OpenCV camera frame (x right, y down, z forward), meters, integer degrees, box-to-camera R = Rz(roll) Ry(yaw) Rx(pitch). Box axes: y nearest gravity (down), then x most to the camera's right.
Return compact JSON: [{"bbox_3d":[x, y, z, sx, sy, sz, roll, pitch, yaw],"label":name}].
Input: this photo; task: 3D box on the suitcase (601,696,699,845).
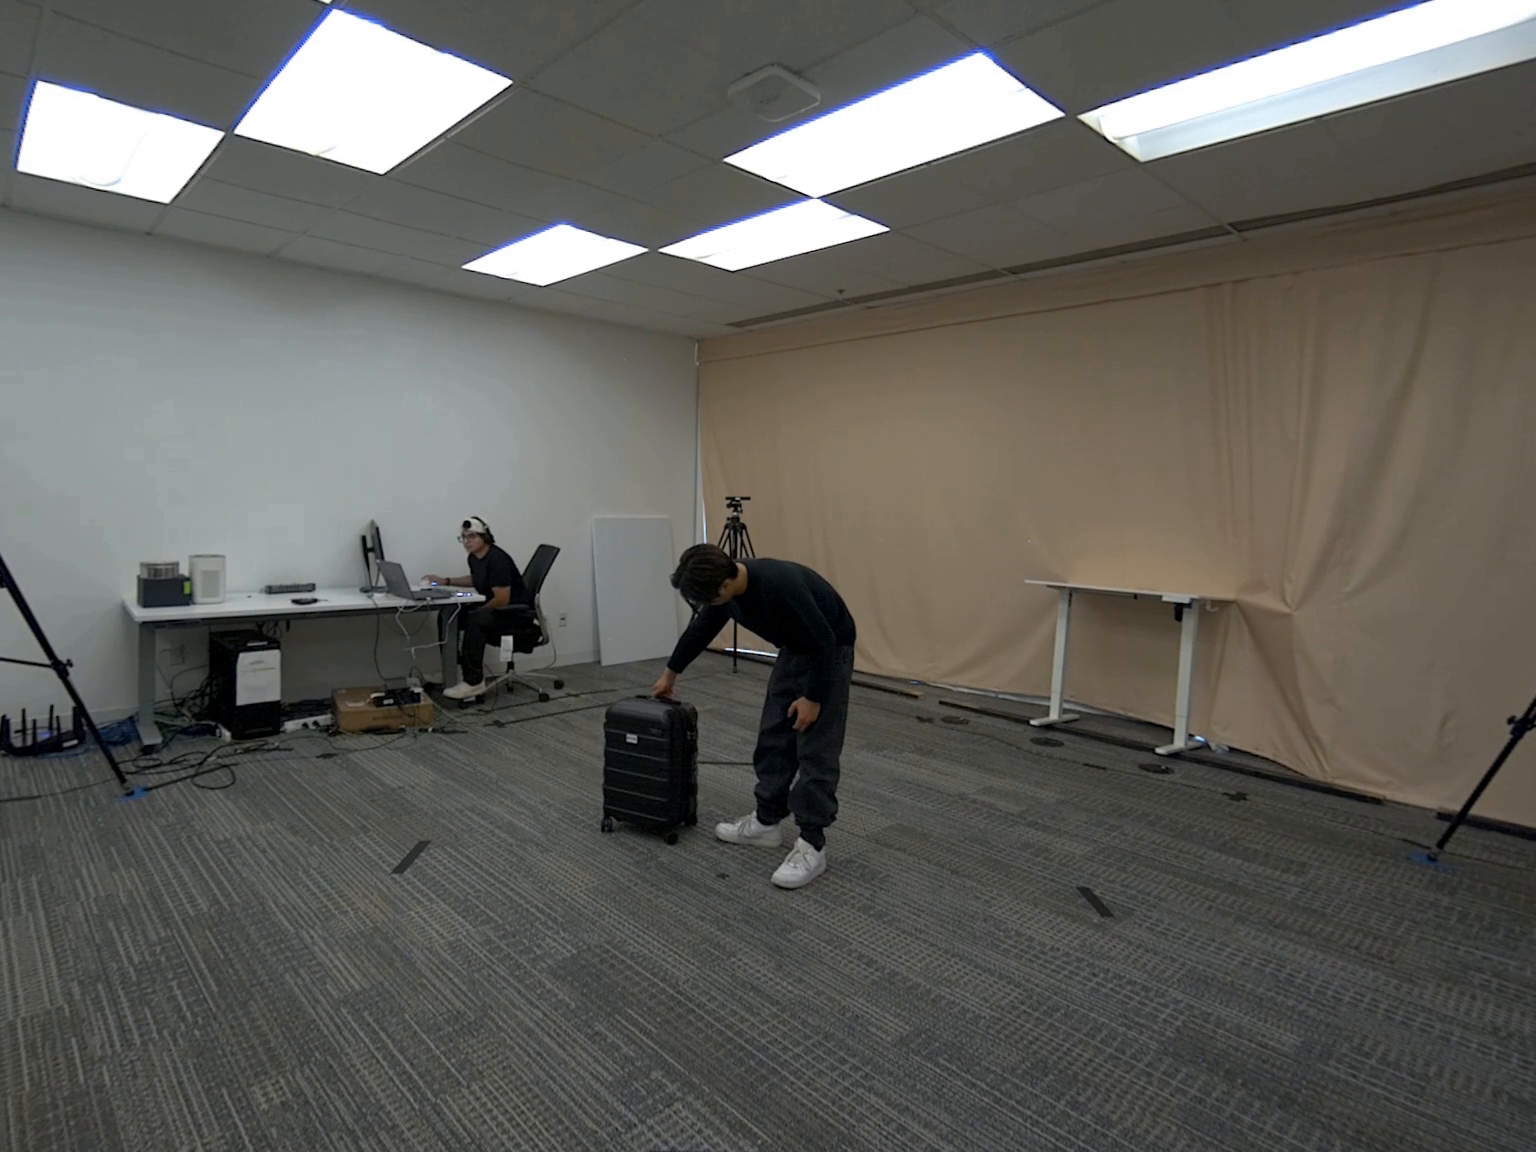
[{"bbox_3d":[-0.494,0.784,3.524,0.383,0.548,0.244,4,5,26],"label":"suitcase"}]
